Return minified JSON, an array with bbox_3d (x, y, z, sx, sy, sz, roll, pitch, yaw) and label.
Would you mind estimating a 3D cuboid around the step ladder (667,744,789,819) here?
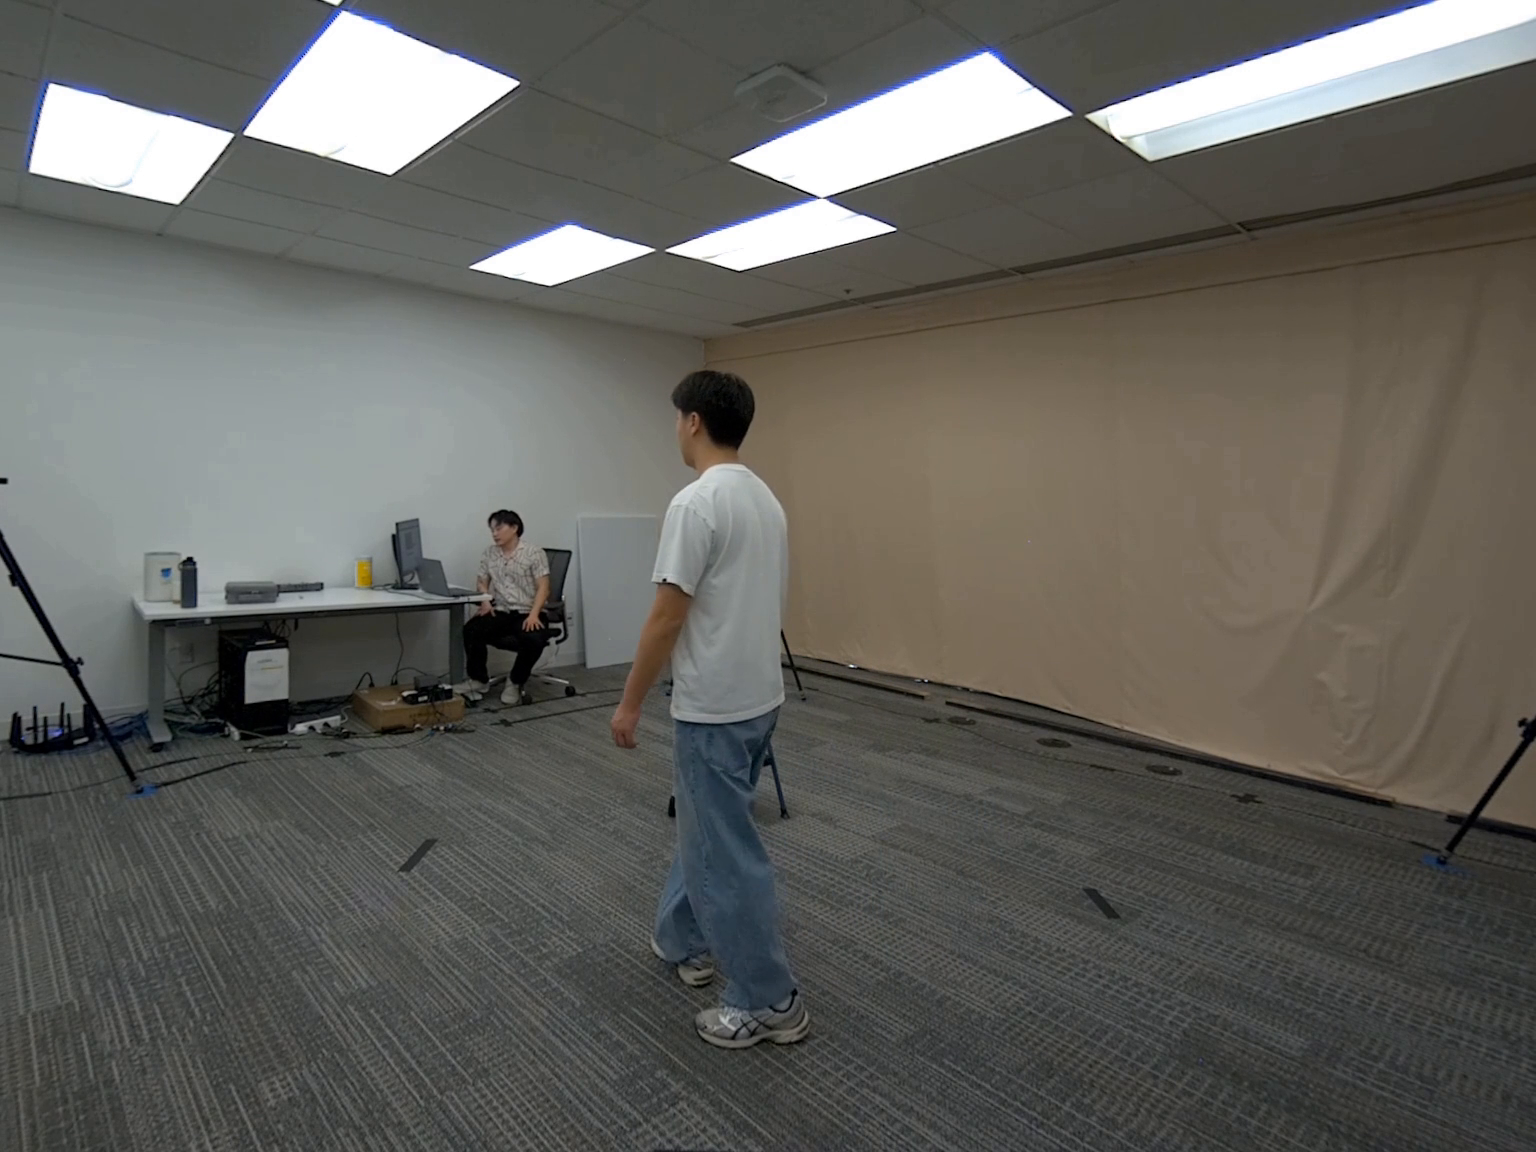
[{"bbox_3d":[-0.167,0.756,3.672,0.420,0.605,0.358,-1,5,-44],"label":"step ladder"}]
